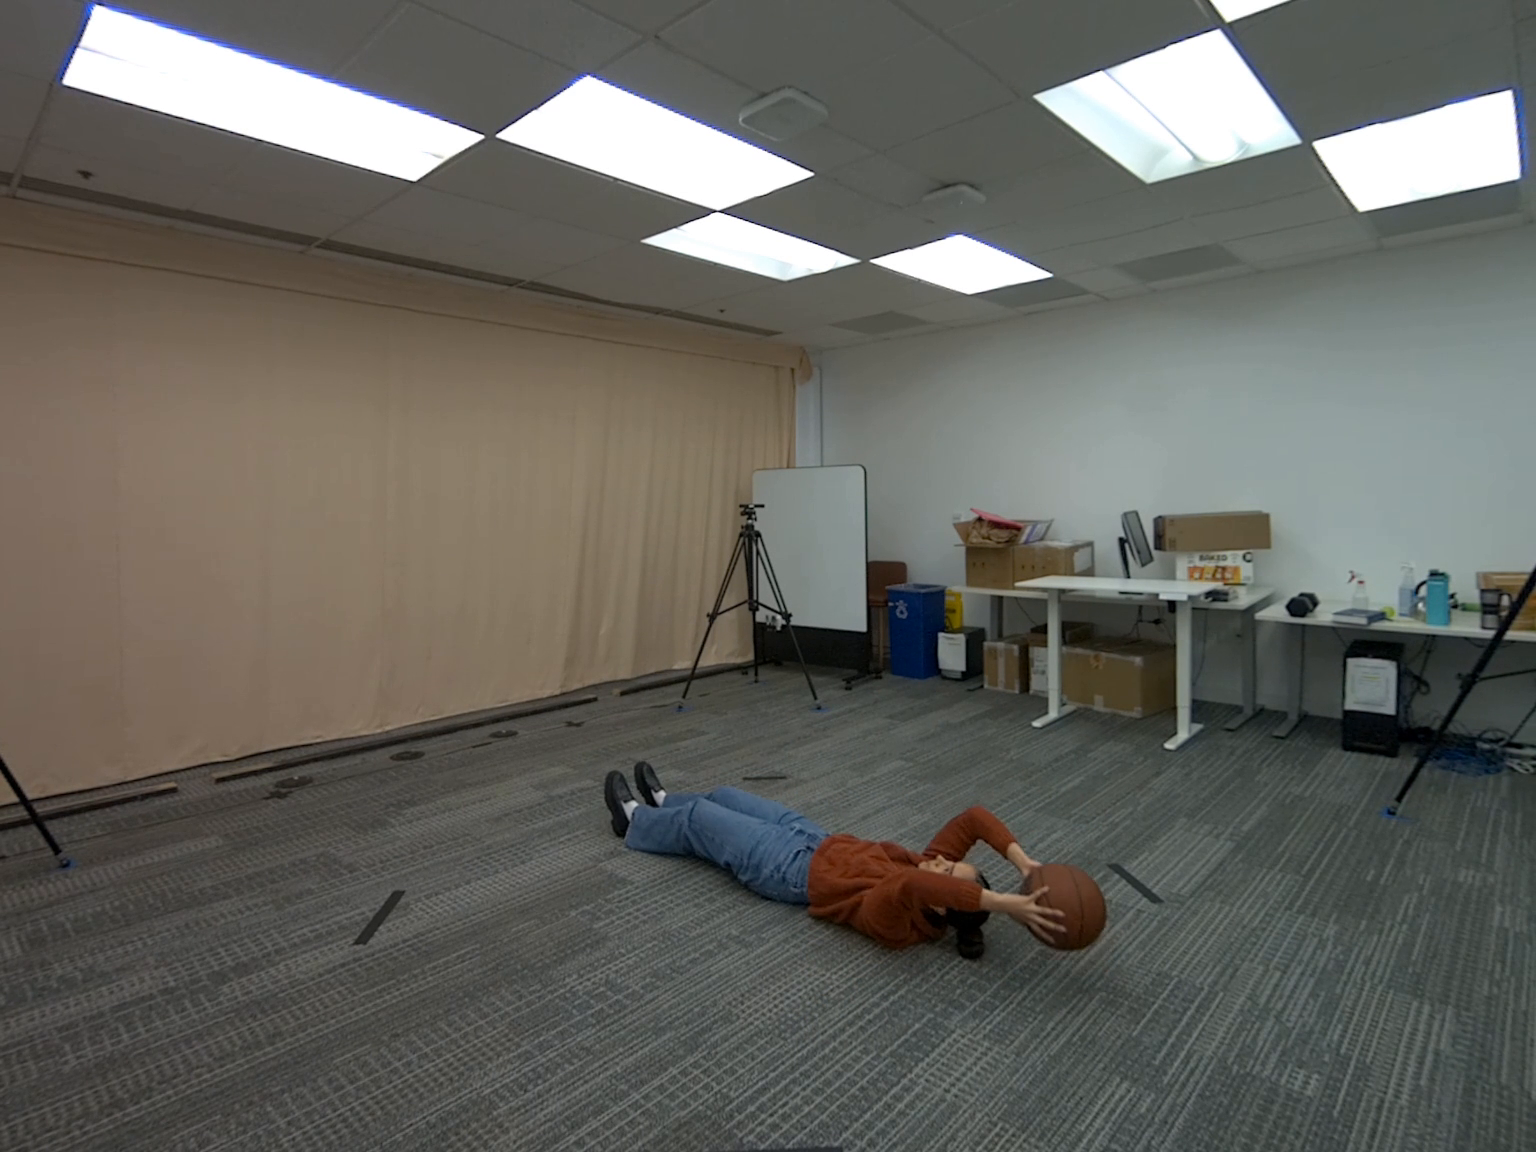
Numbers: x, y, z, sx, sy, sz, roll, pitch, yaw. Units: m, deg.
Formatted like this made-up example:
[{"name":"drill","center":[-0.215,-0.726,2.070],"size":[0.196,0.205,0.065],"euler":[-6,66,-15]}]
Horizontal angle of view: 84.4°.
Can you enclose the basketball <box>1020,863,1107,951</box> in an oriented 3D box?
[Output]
[{"name":"basketball","center":[0.846,0.929,2.417],"size":[0.235,0.235,0.237],"euler":[2,5,-2]}]
